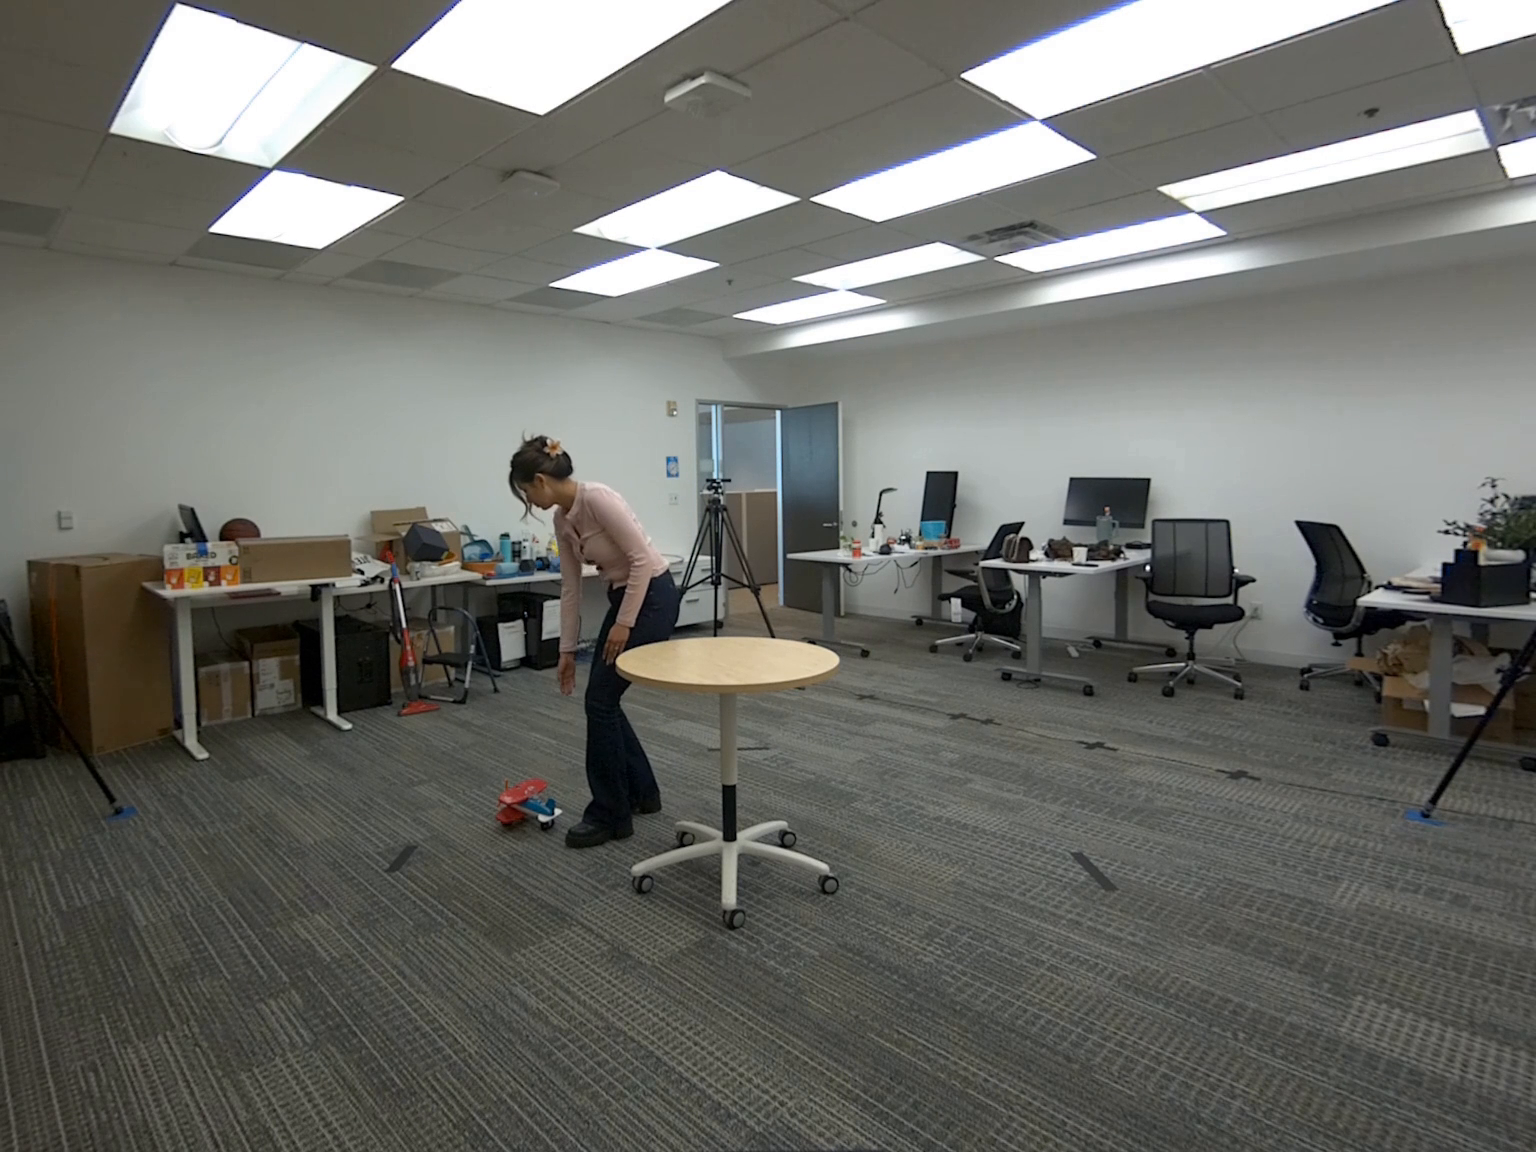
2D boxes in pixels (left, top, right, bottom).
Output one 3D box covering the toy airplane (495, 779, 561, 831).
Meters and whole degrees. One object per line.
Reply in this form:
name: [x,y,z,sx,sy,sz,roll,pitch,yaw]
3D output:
toy airplane: [-0.965,0.941,3.511,0.259,0.156,0.253,-2,5,-3]
